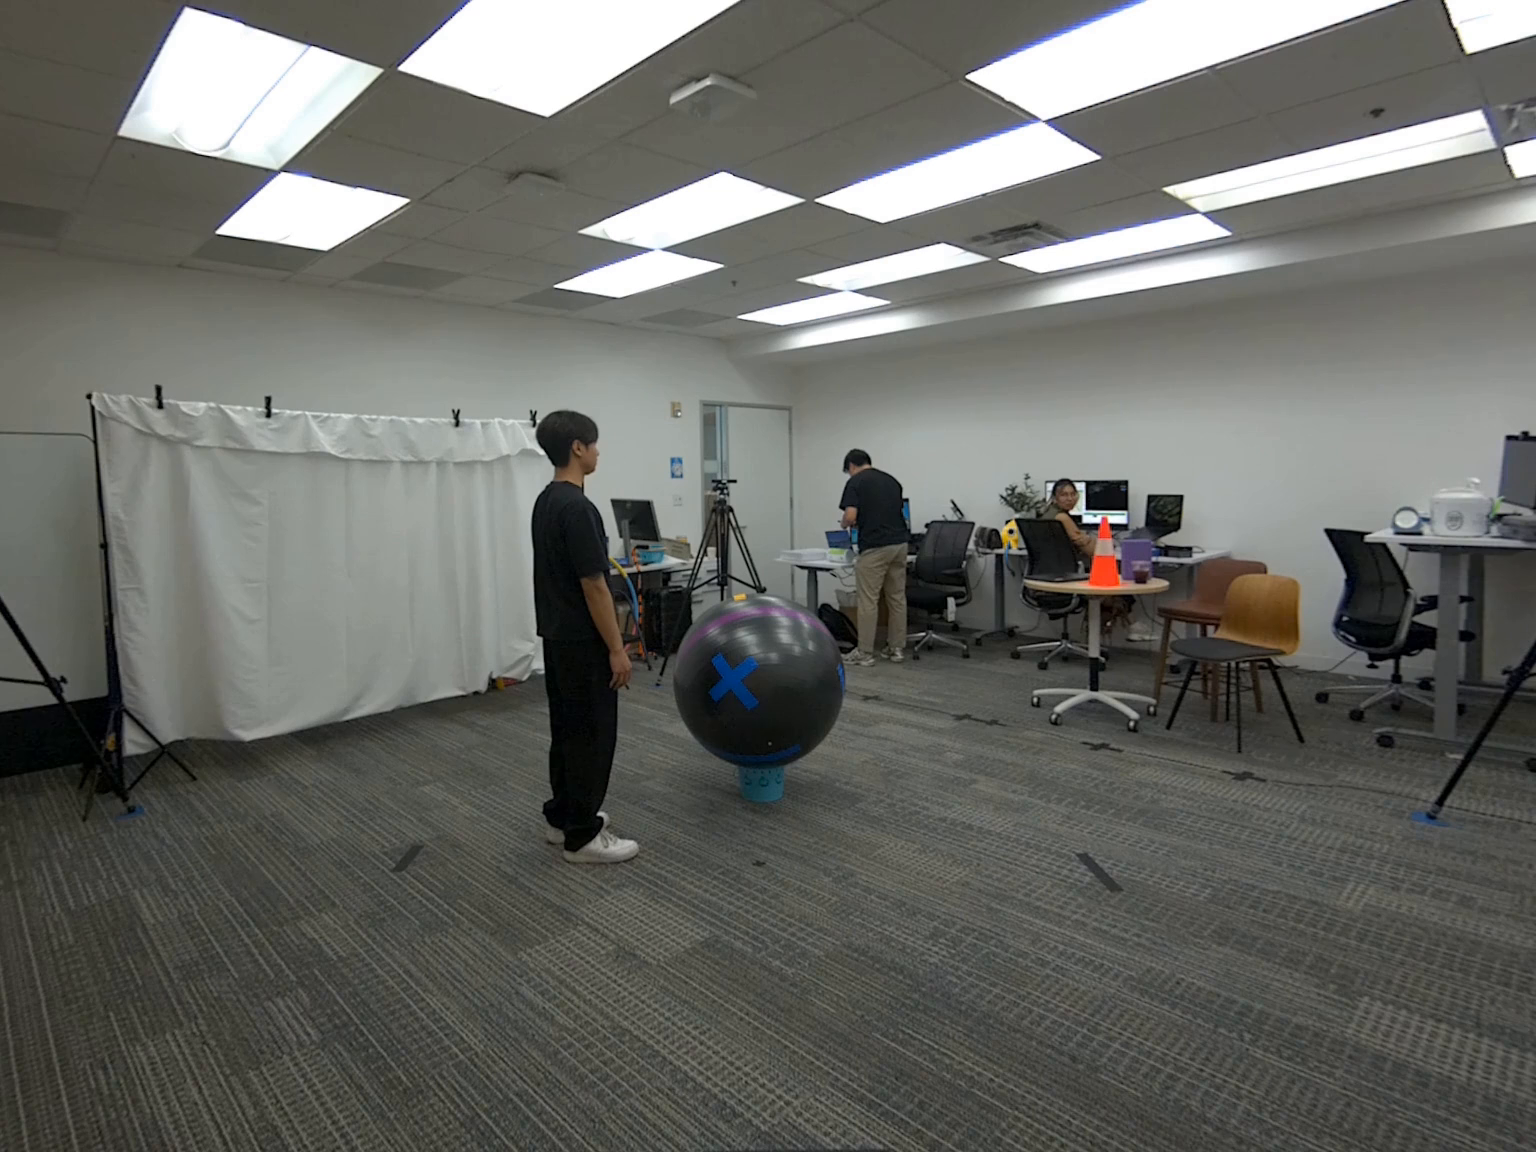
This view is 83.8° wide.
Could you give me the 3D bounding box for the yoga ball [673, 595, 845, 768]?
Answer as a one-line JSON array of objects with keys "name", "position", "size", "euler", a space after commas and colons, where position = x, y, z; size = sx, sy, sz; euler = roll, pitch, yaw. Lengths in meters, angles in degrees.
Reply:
[{"name": "yoga ball", "position": [-0.041, 0.462, 3.774], "size": [0.757, 0.755, 0.762], "euler": [-1, 5, -2]}]
